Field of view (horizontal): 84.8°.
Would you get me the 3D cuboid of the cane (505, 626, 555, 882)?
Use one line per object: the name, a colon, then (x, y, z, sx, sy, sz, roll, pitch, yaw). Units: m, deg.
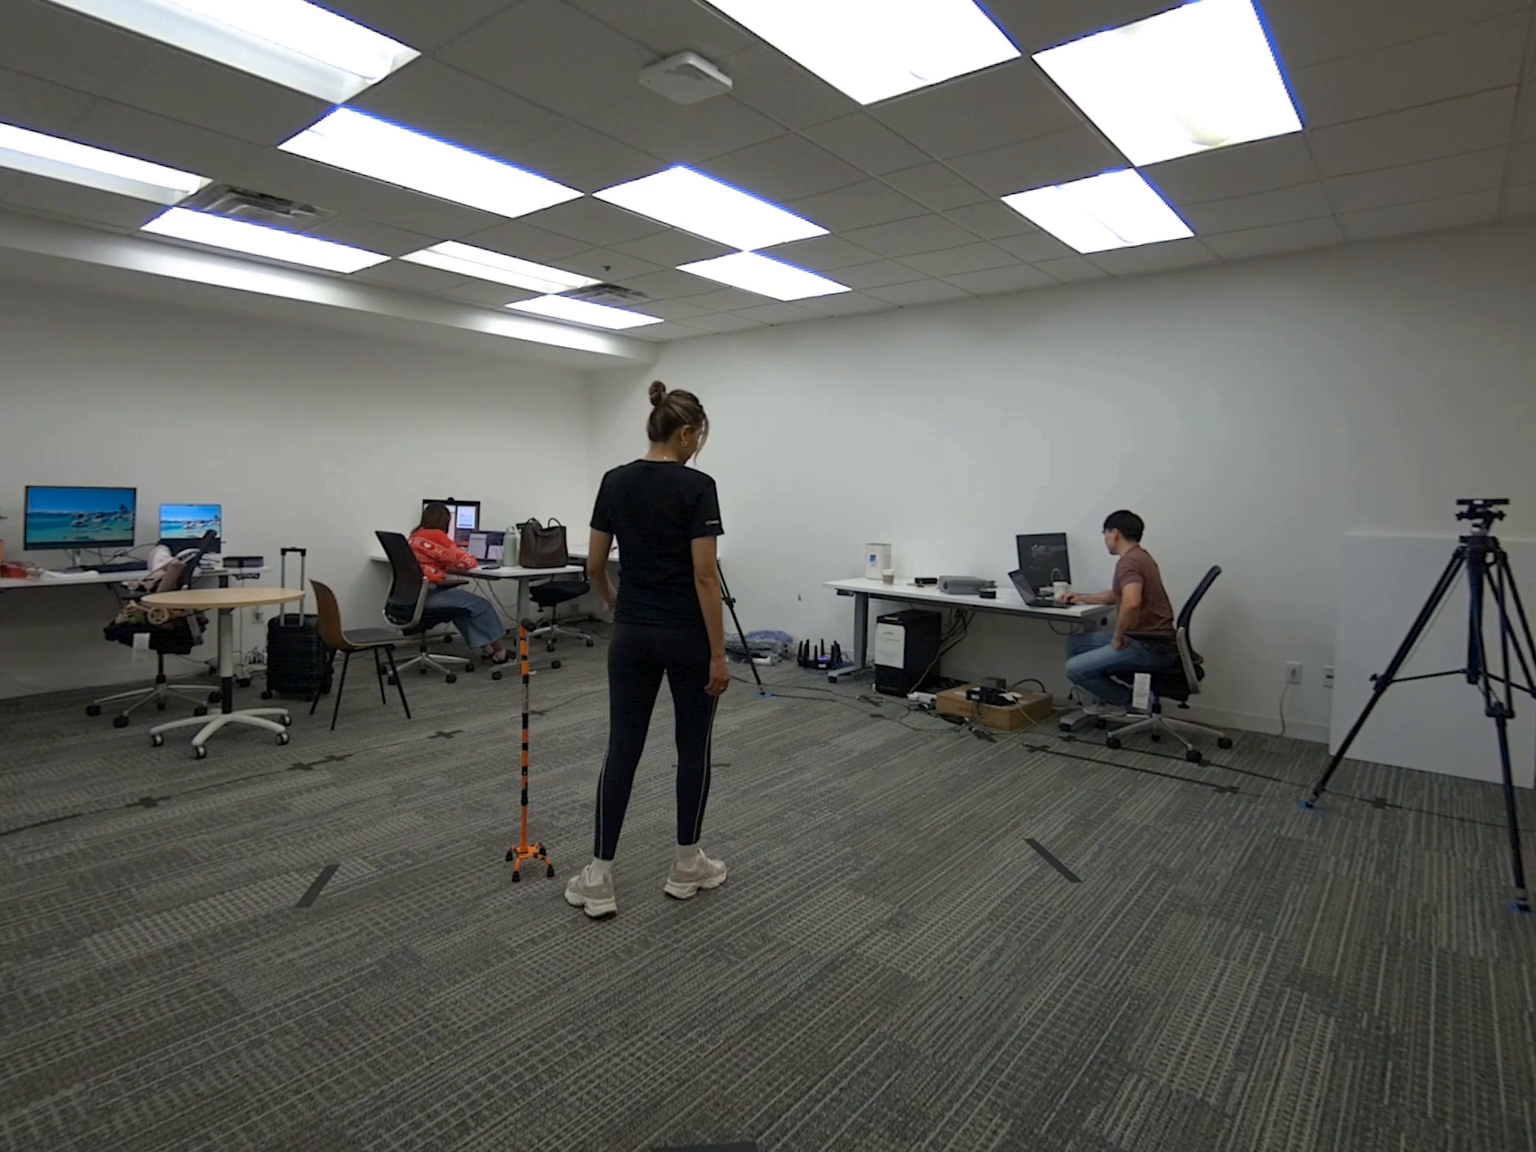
cane: (-0.878, 0.609, 3.072, 0.148, 0.906, 0.211, -1, 3, -23)
